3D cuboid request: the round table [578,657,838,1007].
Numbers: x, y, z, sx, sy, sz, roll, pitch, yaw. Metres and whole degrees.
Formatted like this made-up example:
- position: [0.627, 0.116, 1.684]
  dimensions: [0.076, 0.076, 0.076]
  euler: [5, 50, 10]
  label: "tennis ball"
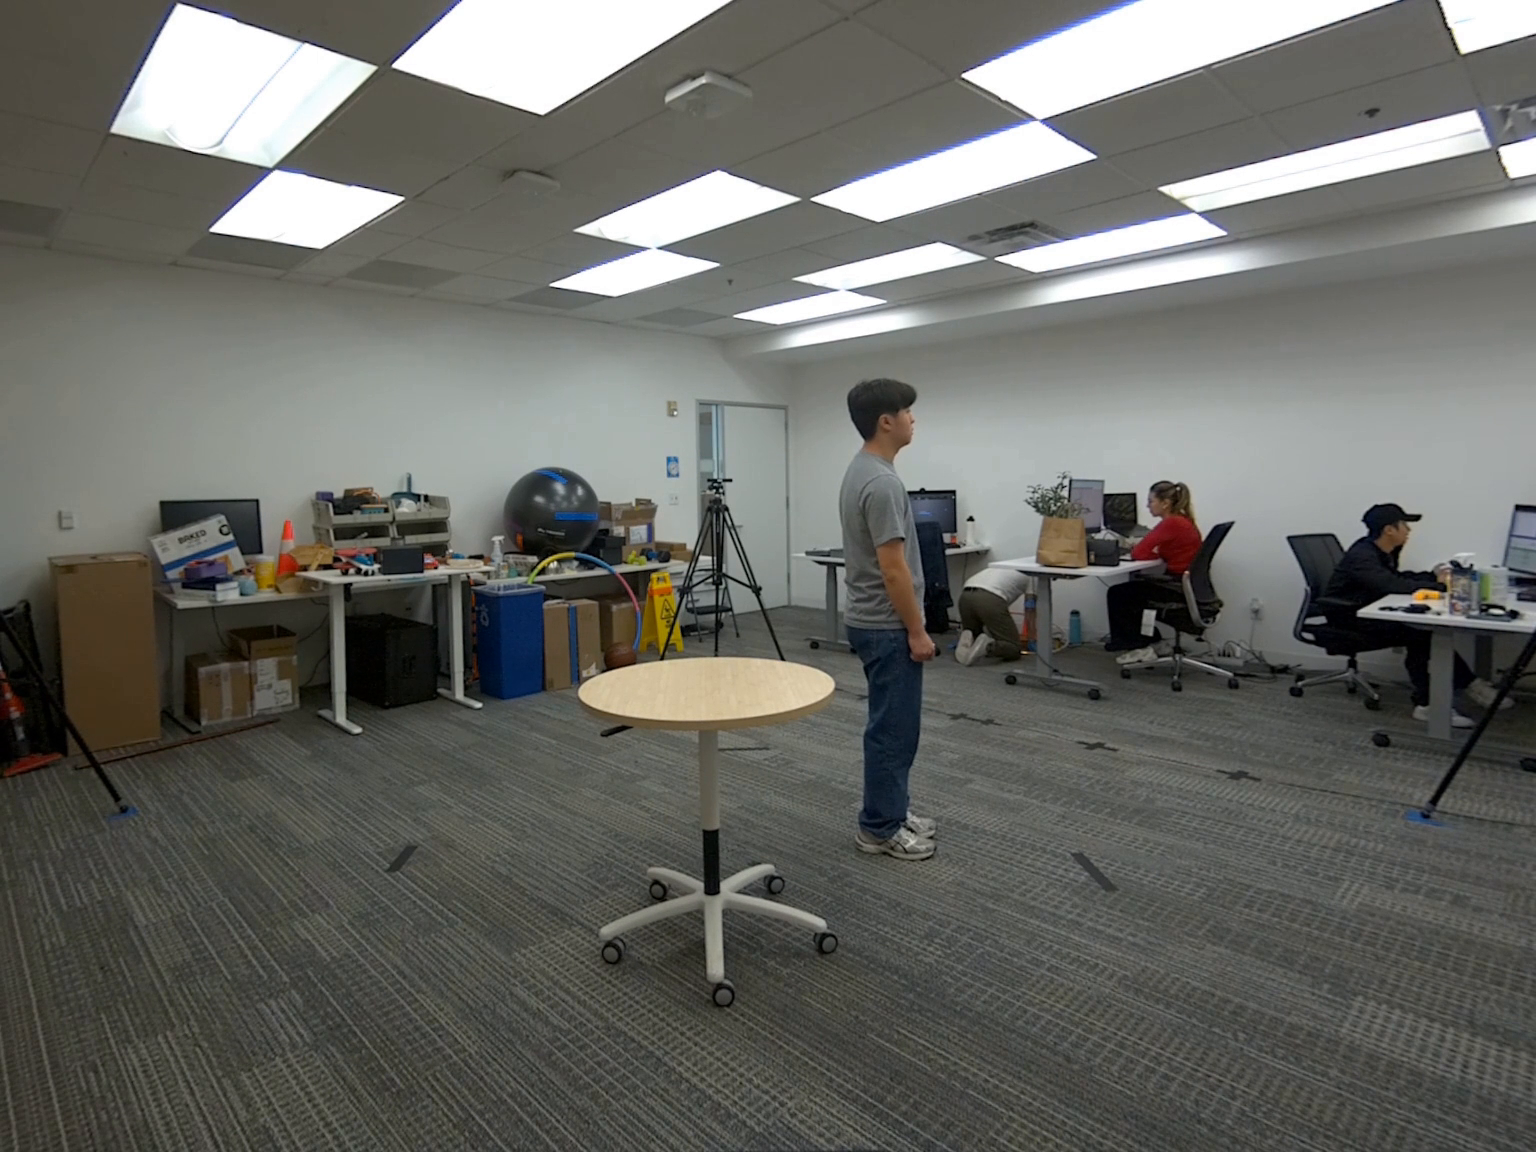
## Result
- position: [-0.172, 0.718, 2.593]
  dimensions: [0.763, 0.790, 0.768]
  euler: [-2, 5, -2]
  label: "round table"
